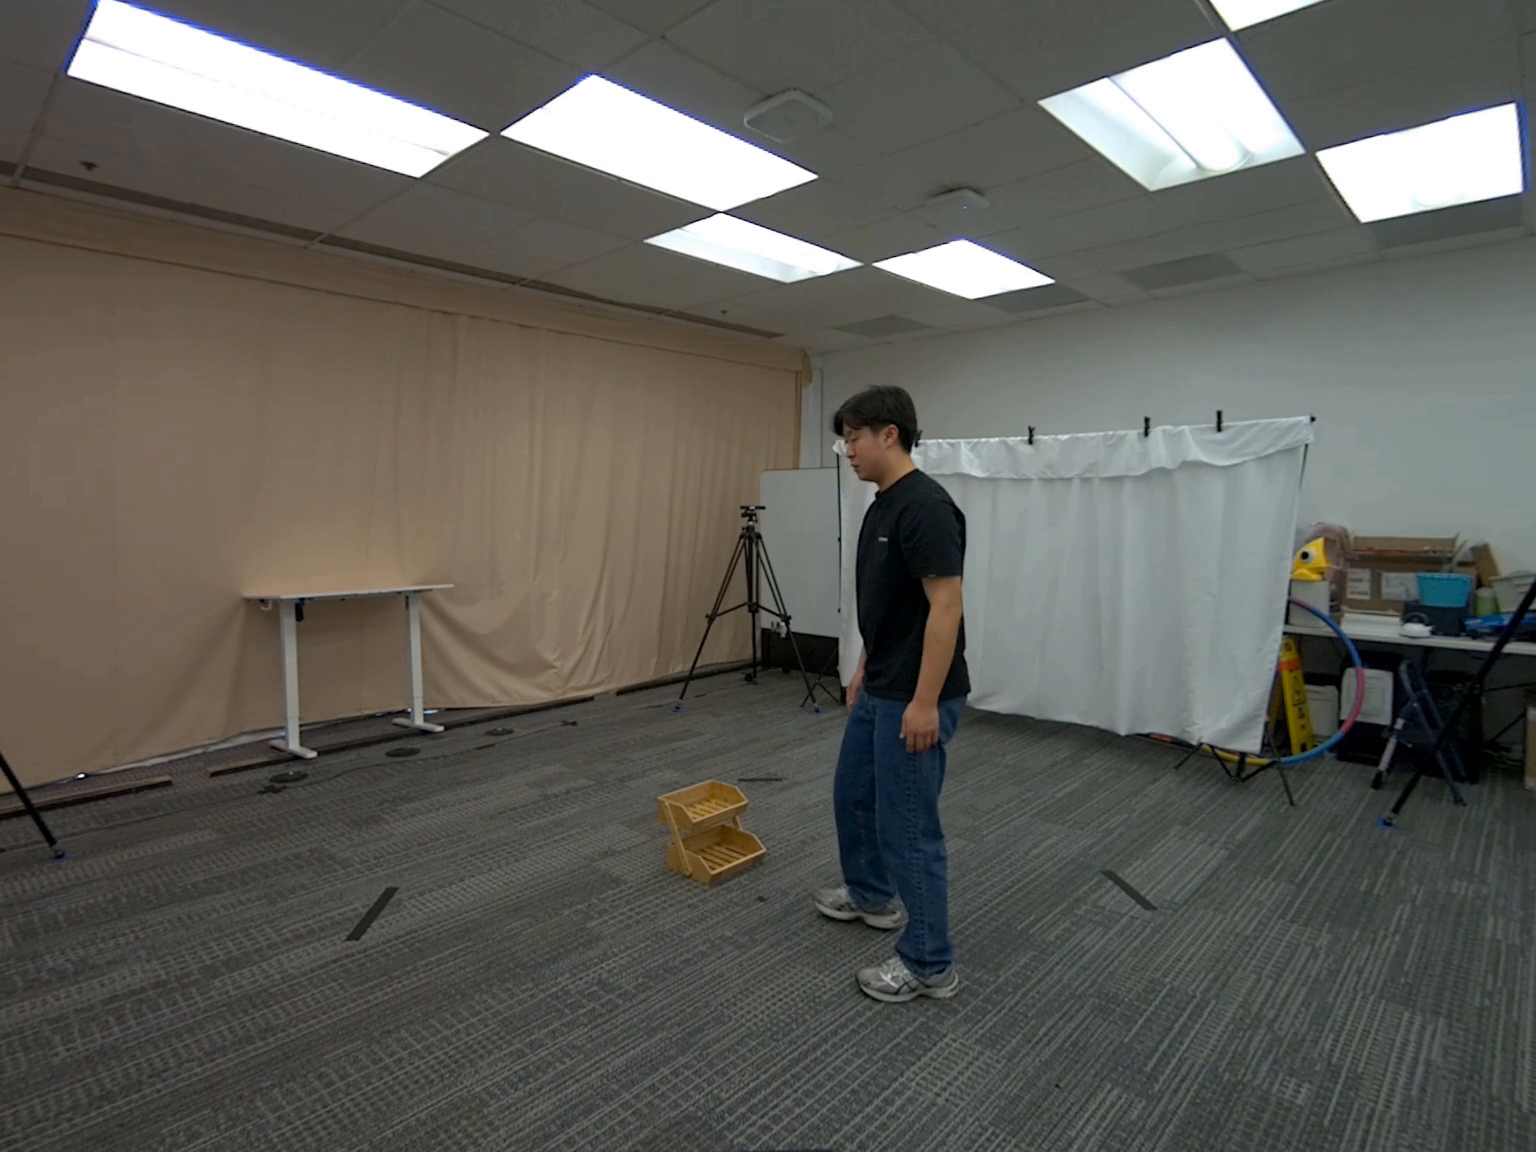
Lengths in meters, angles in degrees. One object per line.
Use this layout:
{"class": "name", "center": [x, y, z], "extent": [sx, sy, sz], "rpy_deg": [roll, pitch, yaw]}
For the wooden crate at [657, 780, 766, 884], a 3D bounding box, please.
{"class": "wooden crate", "center": [-0.219, 0.986, 3.282], "extent": [0.312, 0.273, 0.314], "rpy_deg": [2, 5, 43]}
